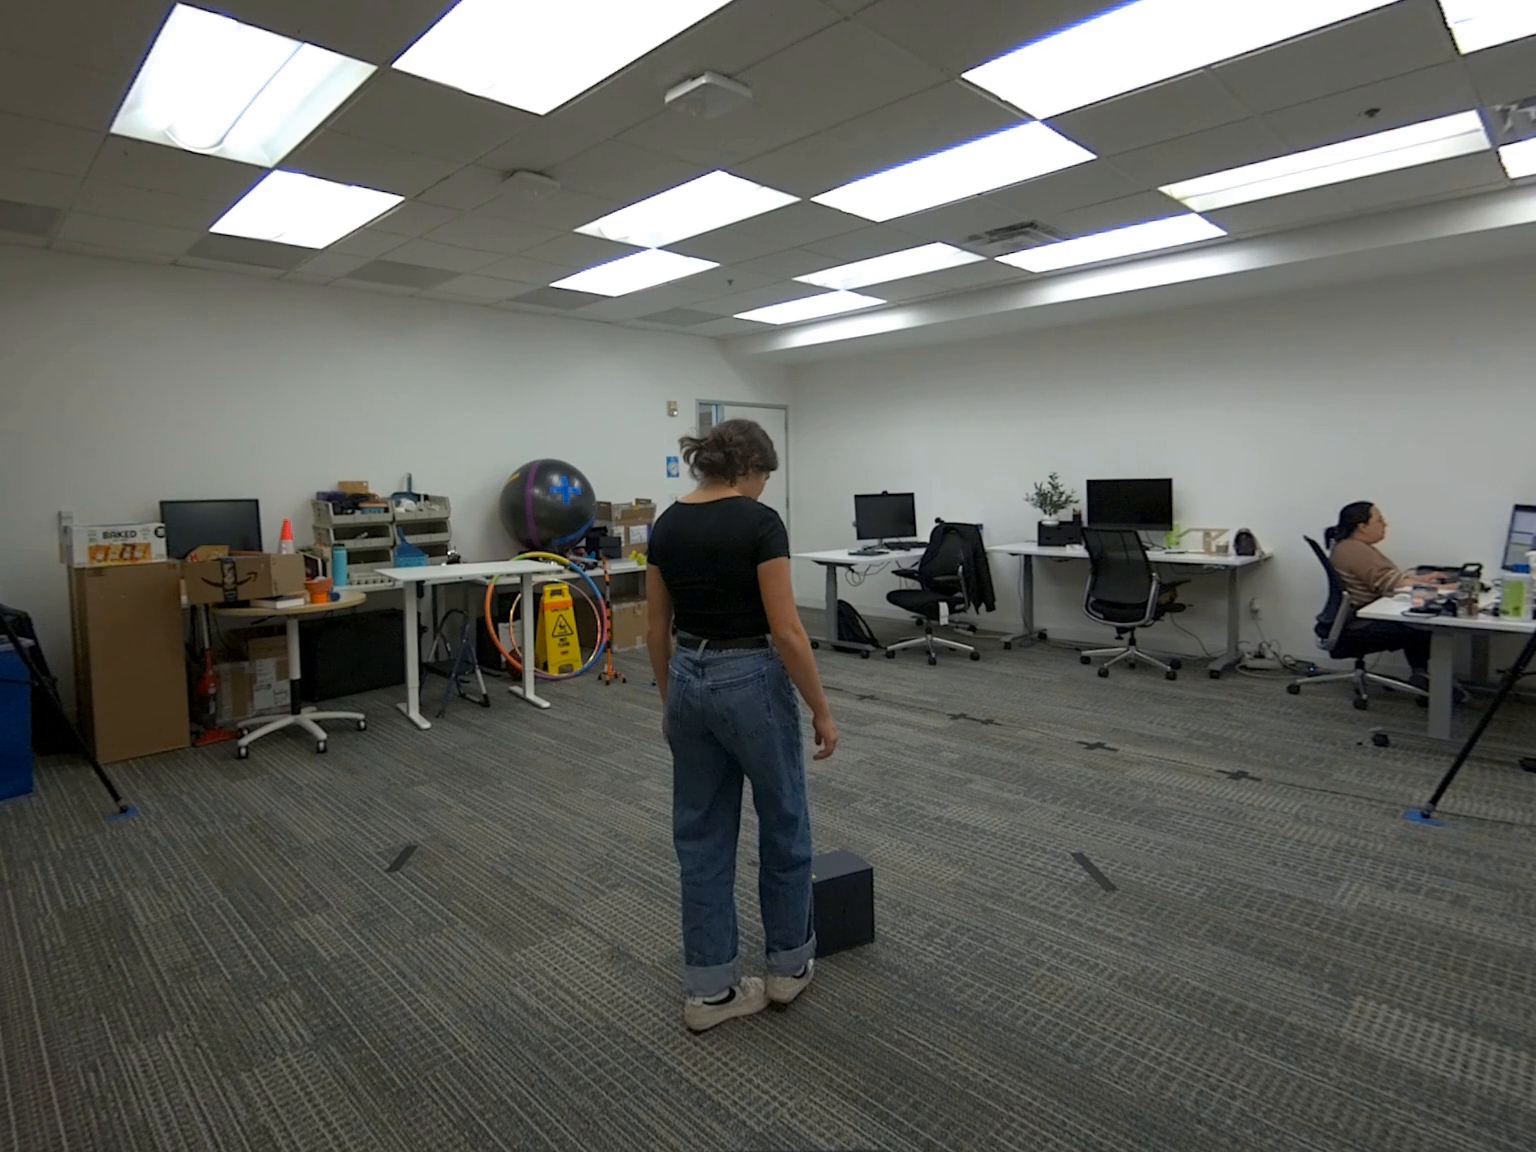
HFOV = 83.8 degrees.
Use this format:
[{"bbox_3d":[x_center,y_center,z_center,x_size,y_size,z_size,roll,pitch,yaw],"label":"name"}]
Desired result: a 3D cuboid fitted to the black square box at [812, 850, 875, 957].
[{"bbox_3d":[0.194,0.977,2.590,0.212,0.227,0.160,-4,5,-27],"label":"black square box"}]
